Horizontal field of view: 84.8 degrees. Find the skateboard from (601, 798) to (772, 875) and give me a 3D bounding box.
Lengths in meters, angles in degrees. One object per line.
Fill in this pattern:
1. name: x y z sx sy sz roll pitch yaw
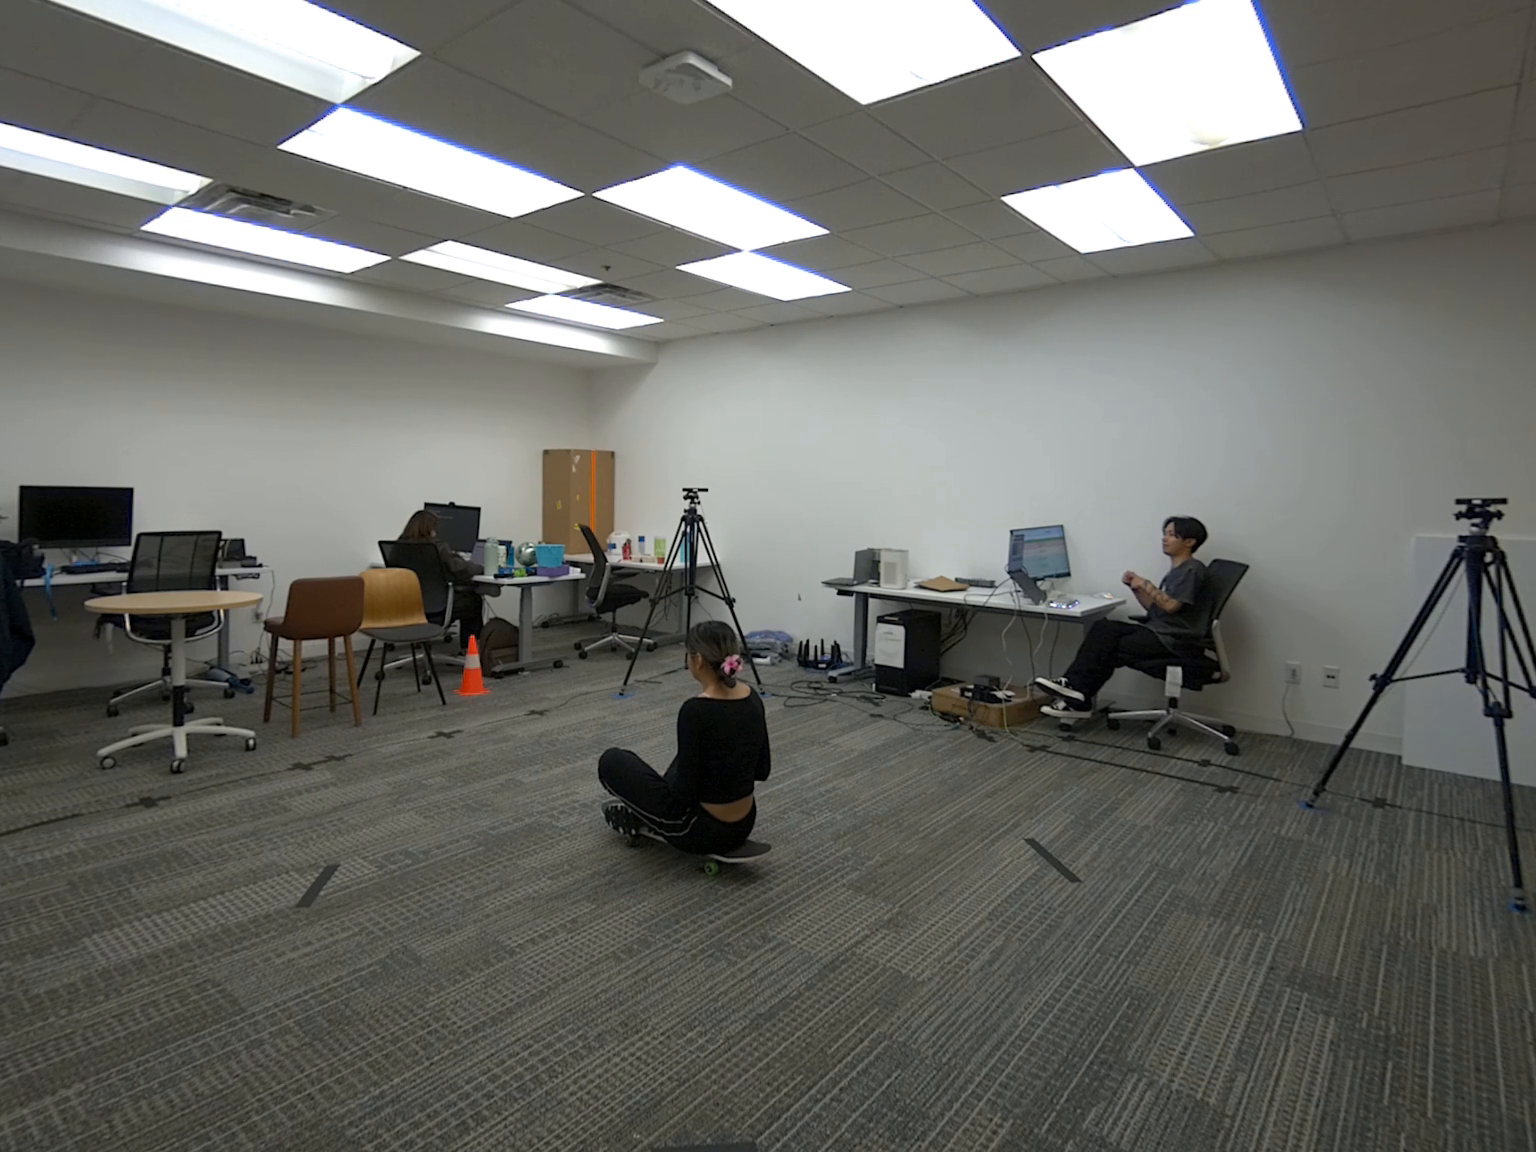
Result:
1. skateboard: -0.348 0.995 3.251 0.810 0.110 0.188 6 7 32
